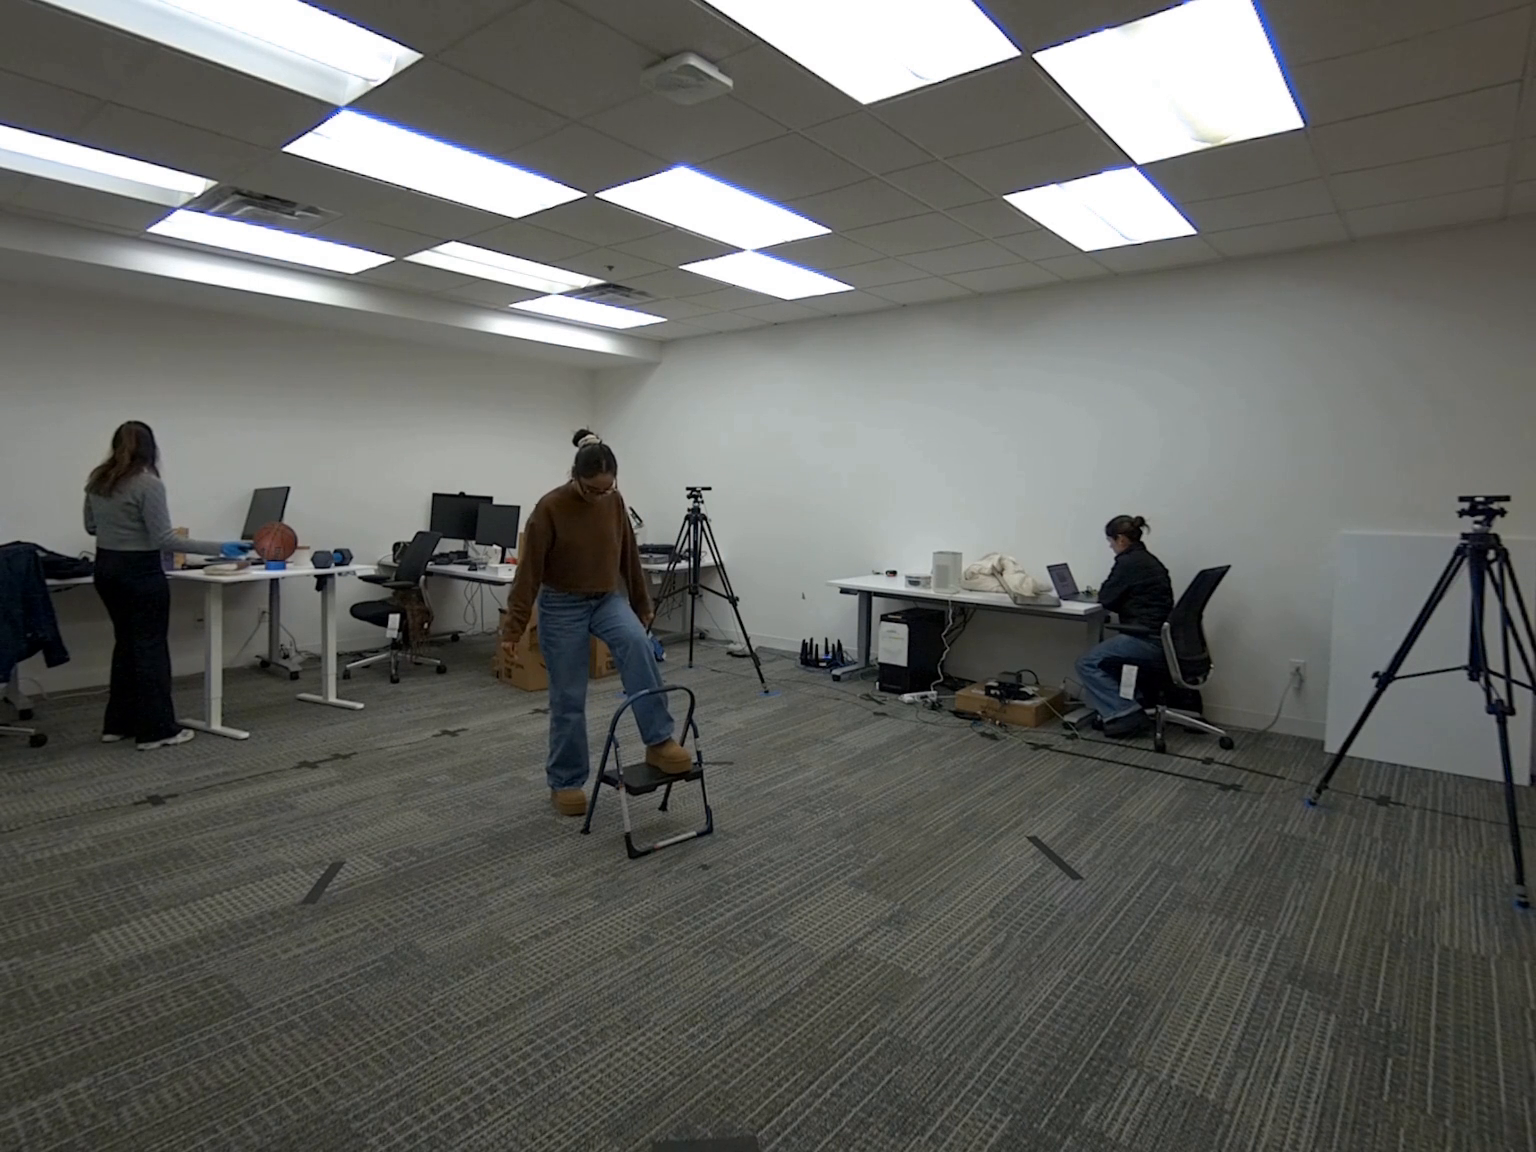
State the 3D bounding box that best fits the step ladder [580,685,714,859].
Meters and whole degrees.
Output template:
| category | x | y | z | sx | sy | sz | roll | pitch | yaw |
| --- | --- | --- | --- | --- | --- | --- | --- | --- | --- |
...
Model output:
| category | x | y | z | sx | sy | sz | roll | pitch | yaw |
| --- | --- | --- | --- | --- | --- | --- | --- | --- | --- |
| step ladder | -0.489 | 0.728 | 3.412 | 0.417 | 0.604 | 0.361 | -2 | 5 | -44 |
